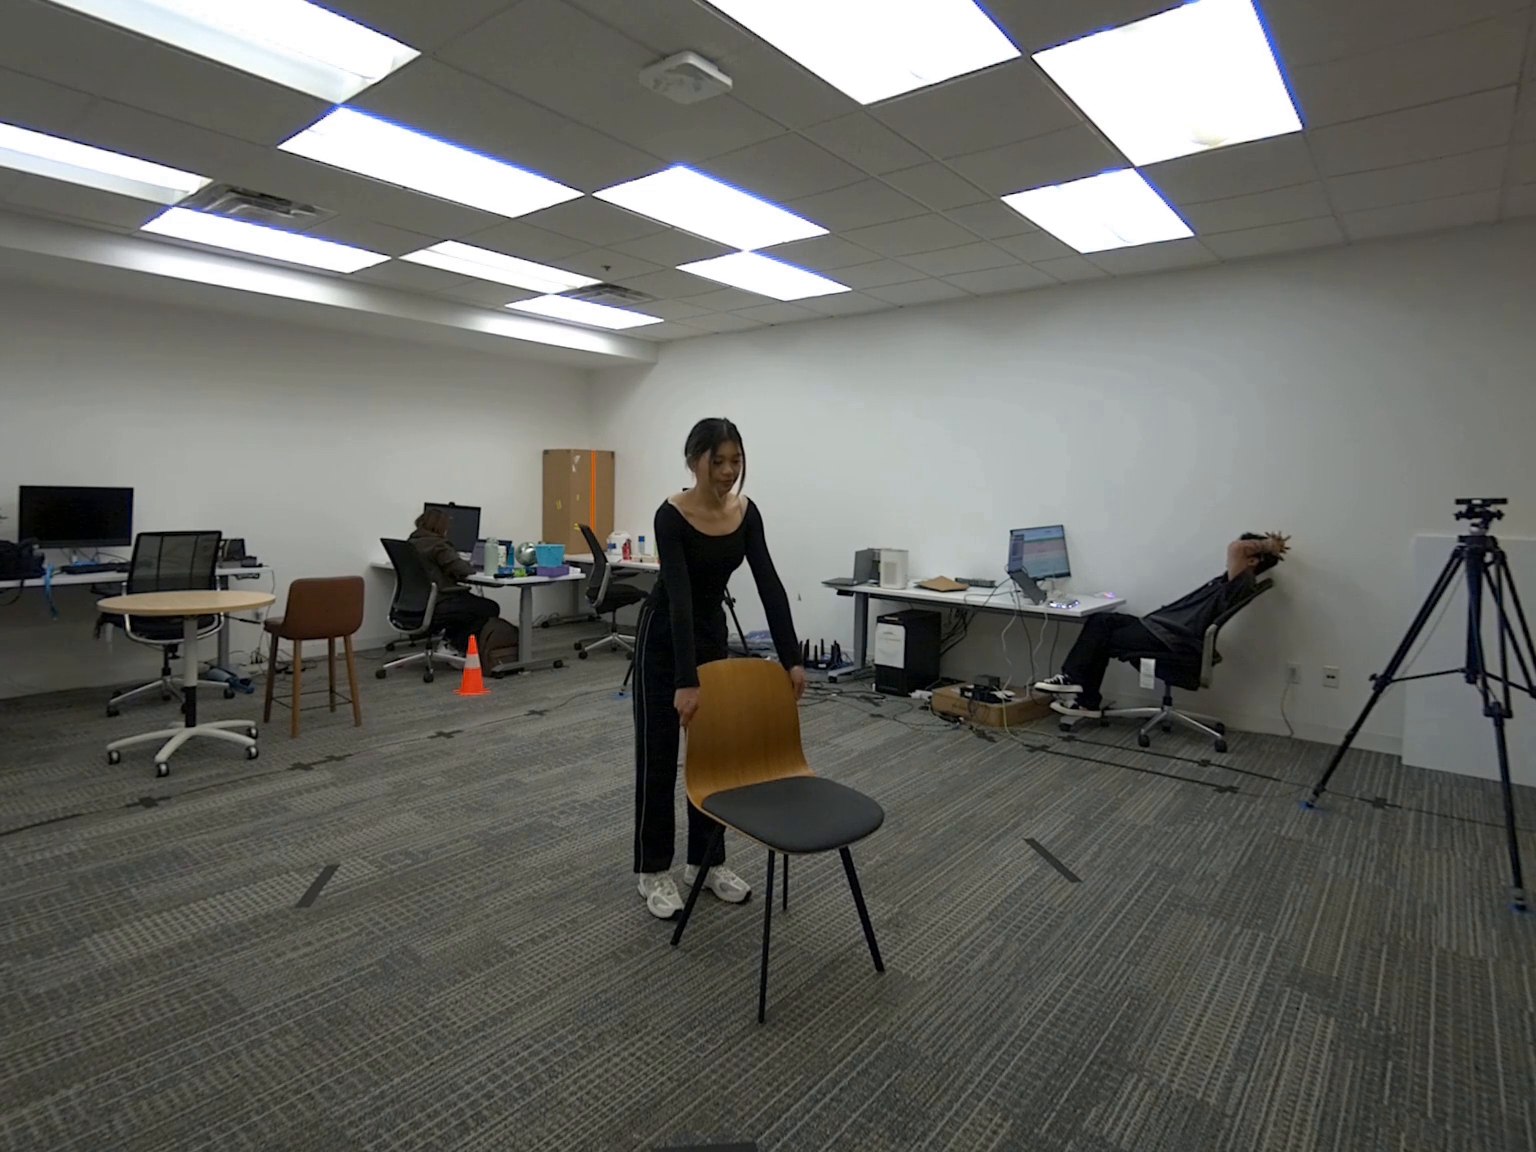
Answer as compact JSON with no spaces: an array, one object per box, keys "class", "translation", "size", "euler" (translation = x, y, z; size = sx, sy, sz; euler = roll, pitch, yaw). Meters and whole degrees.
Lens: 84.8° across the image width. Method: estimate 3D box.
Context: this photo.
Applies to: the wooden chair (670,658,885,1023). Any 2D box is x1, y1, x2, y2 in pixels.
[{"class":"wooden chair","translation":[0.034,0.710,2.490],"size":[0.464,0.878,0.538],"euler":[-1,0,-36]}]
